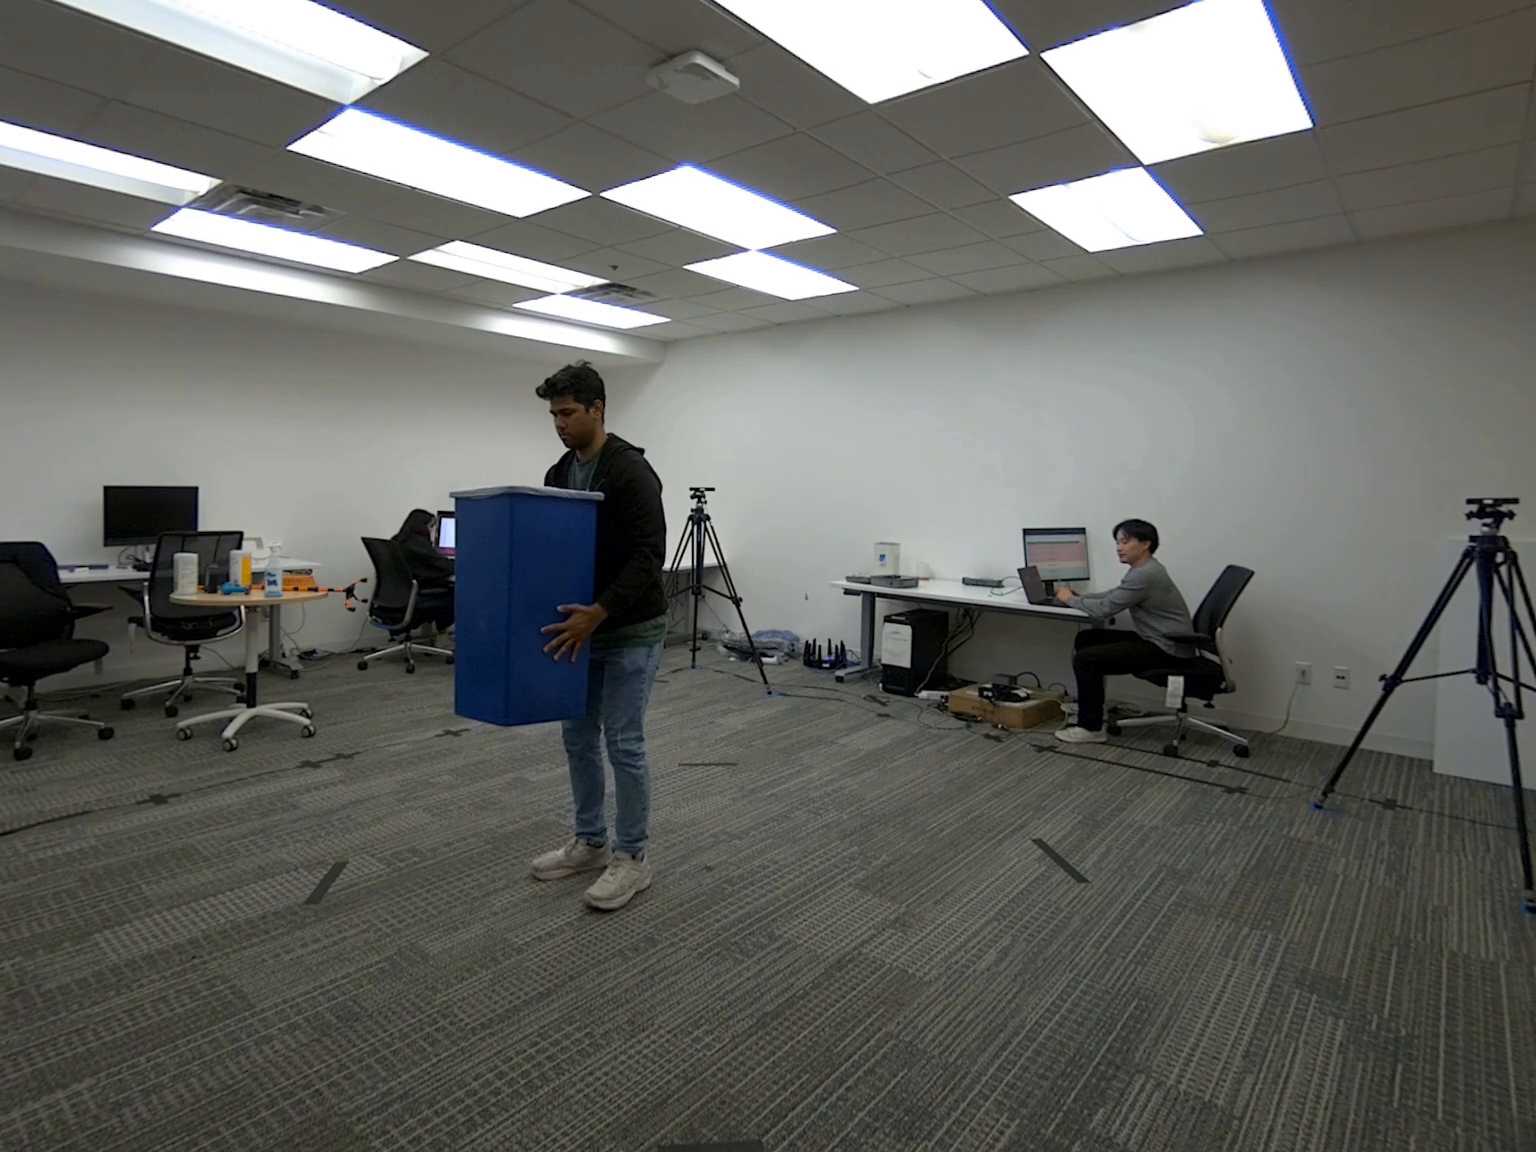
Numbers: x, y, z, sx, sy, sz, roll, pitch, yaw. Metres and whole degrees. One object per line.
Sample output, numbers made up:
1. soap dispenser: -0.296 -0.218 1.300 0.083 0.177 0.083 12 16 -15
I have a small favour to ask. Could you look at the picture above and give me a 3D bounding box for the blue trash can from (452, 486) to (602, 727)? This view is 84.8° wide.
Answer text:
1. blue trash can: -0.802 0.097 2.705 0.390 0.716 0.361 -1 -4 40
